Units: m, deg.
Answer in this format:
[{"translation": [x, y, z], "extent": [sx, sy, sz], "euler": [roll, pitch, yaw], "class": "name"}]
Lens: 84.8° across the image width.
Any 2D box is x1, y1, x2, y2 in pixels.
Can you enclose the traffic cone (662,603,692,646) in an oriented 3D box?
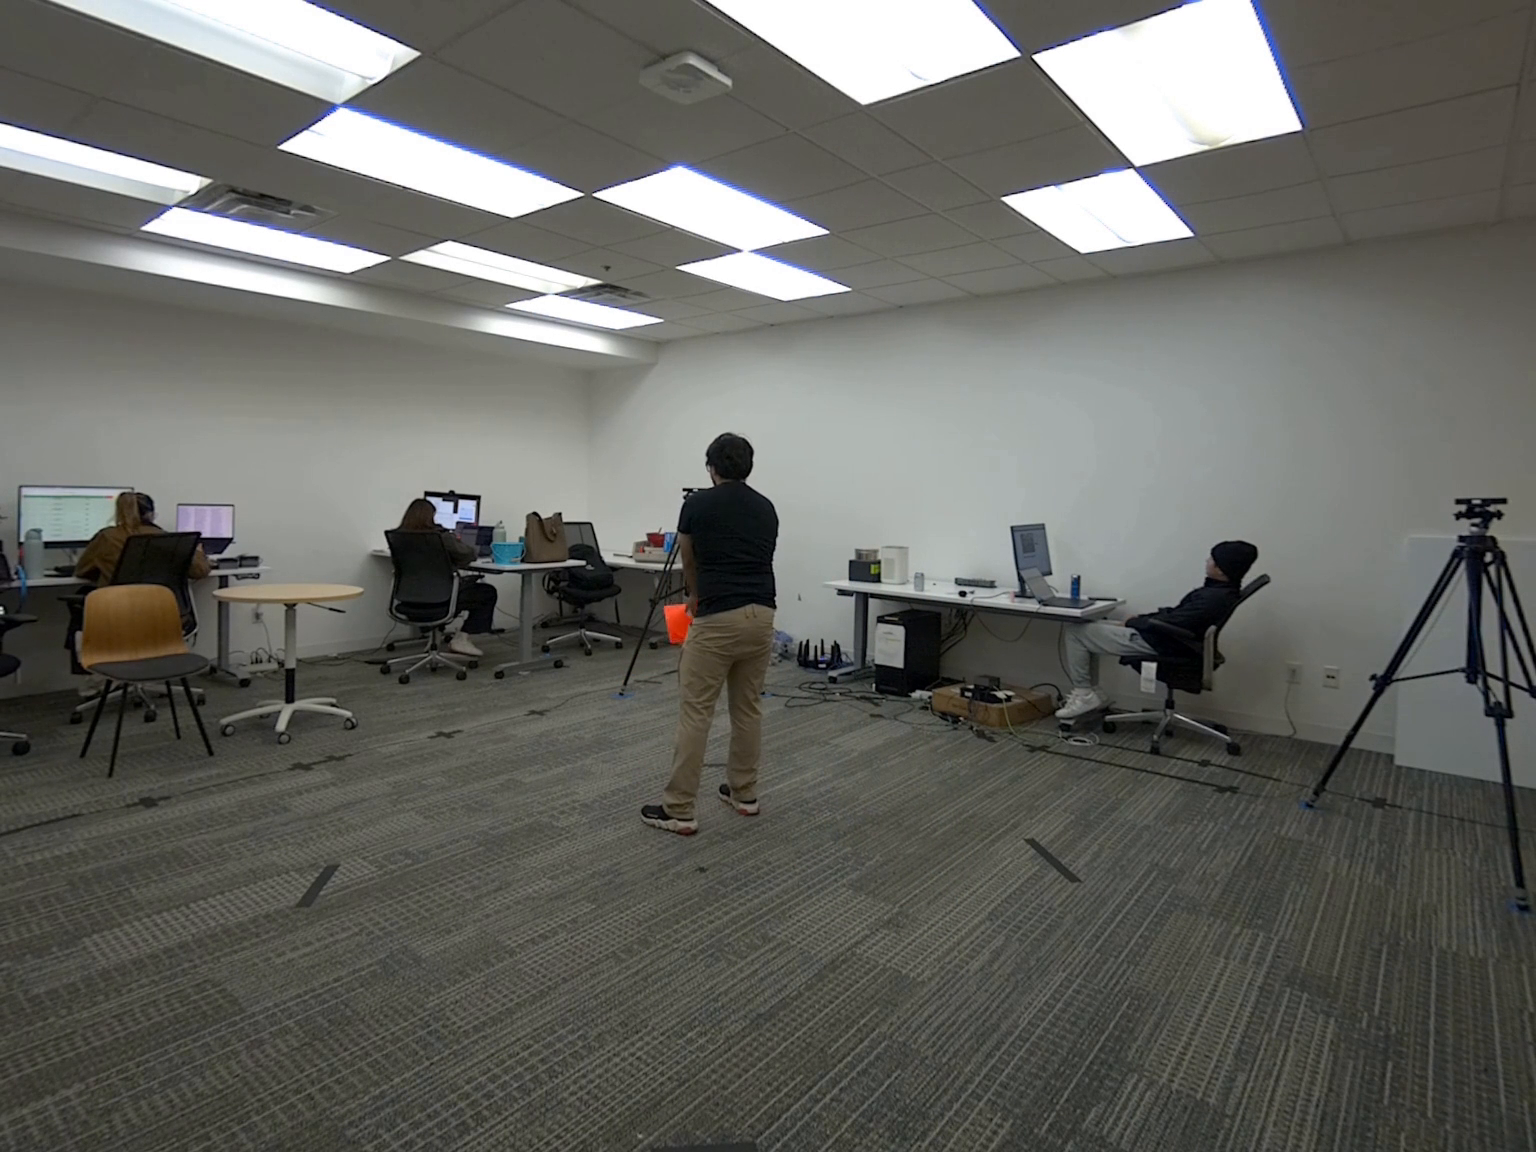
[{"translation": [-0.359, 0.149, 4.109], "extent": [0.199, 0.210, 0.382], "euler": [-5, -22, -23], "class": "traffic cone"}]
